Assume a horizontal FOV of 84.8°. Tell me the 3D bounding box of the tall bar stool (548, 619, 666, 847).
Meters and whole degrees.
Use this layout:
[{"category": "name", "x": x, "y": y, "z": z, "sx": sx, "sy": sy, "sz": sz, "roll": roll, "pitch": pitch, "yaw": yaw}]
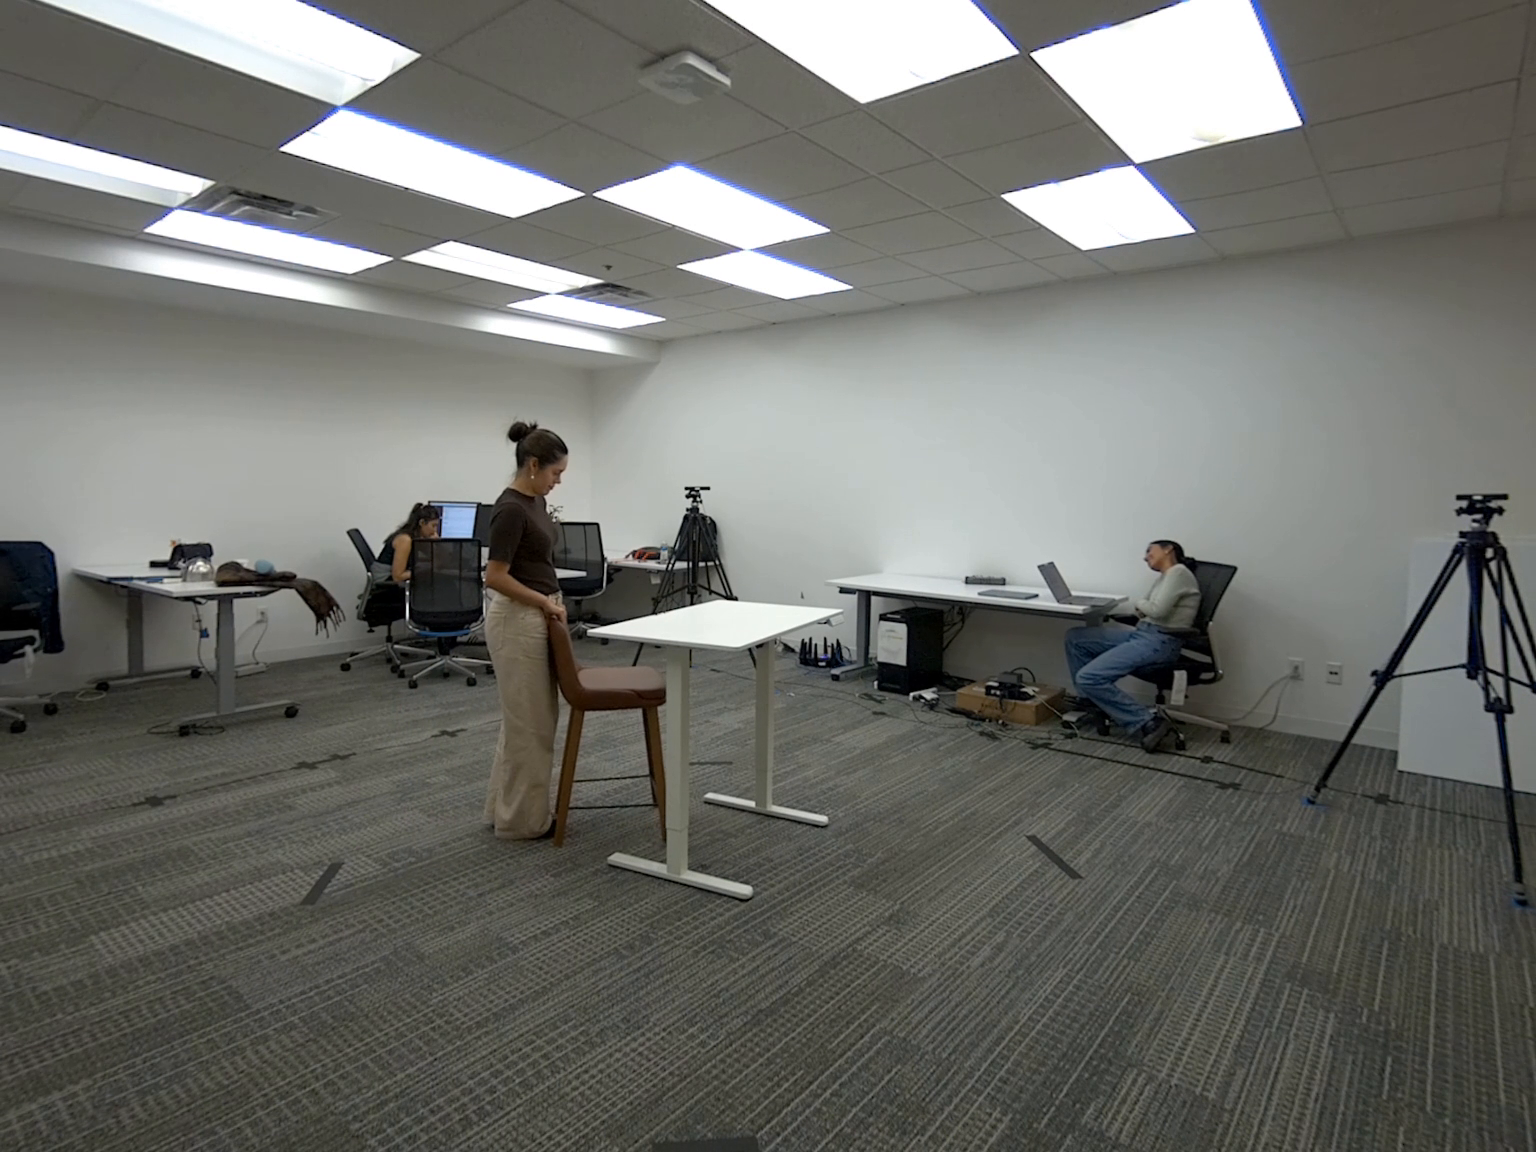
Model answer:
[{"category": "tall bar stool", "x": -0.659, "y": 0.589, "z": 3.461, "sx": 0.463, "sy": 0.887, "sz": 0.462, "roll": -2, "pitch": 3, "yaw": -10}]
